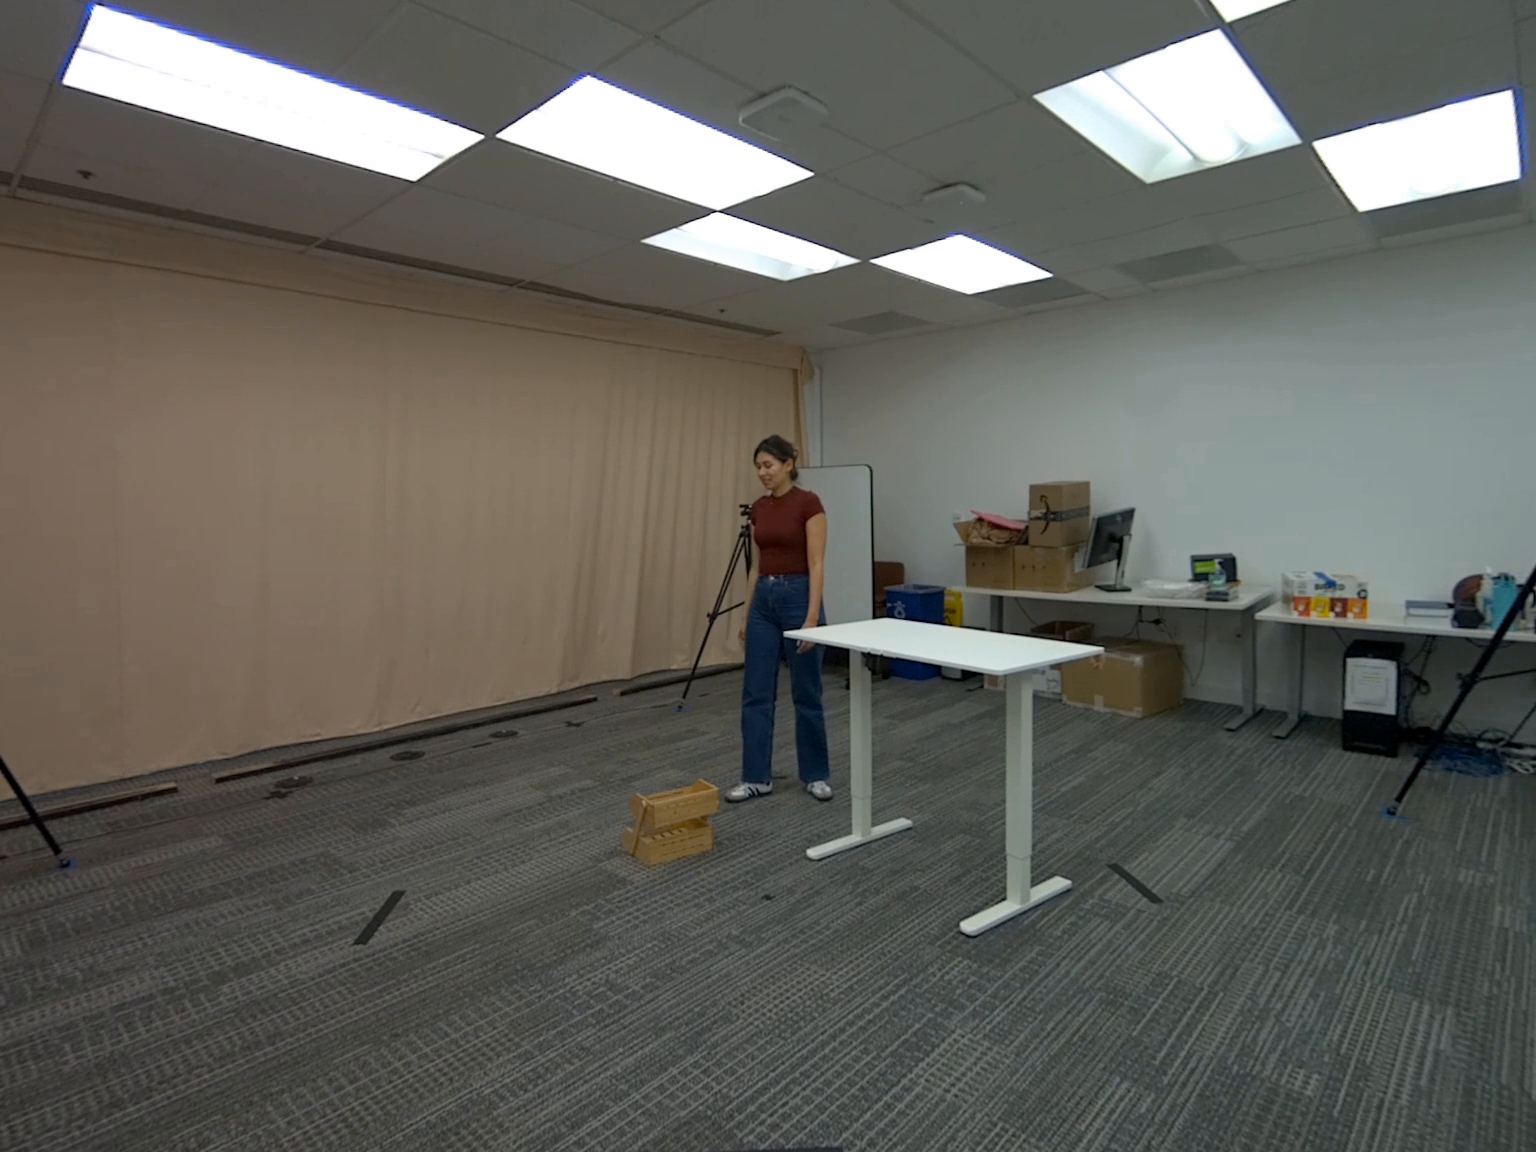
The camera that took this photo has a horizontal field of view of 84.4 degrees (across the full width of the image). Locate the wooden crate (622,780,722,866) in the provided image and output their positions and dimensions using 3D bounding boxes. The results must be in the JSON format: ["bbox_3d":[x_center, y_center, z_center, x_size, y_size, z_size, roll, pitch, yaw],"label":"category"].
[{"bbox_3d":[-0.404,0.976,3.417,0.315,0.272,0.311,-4,5,-33],"label":"wooden crate"}]
